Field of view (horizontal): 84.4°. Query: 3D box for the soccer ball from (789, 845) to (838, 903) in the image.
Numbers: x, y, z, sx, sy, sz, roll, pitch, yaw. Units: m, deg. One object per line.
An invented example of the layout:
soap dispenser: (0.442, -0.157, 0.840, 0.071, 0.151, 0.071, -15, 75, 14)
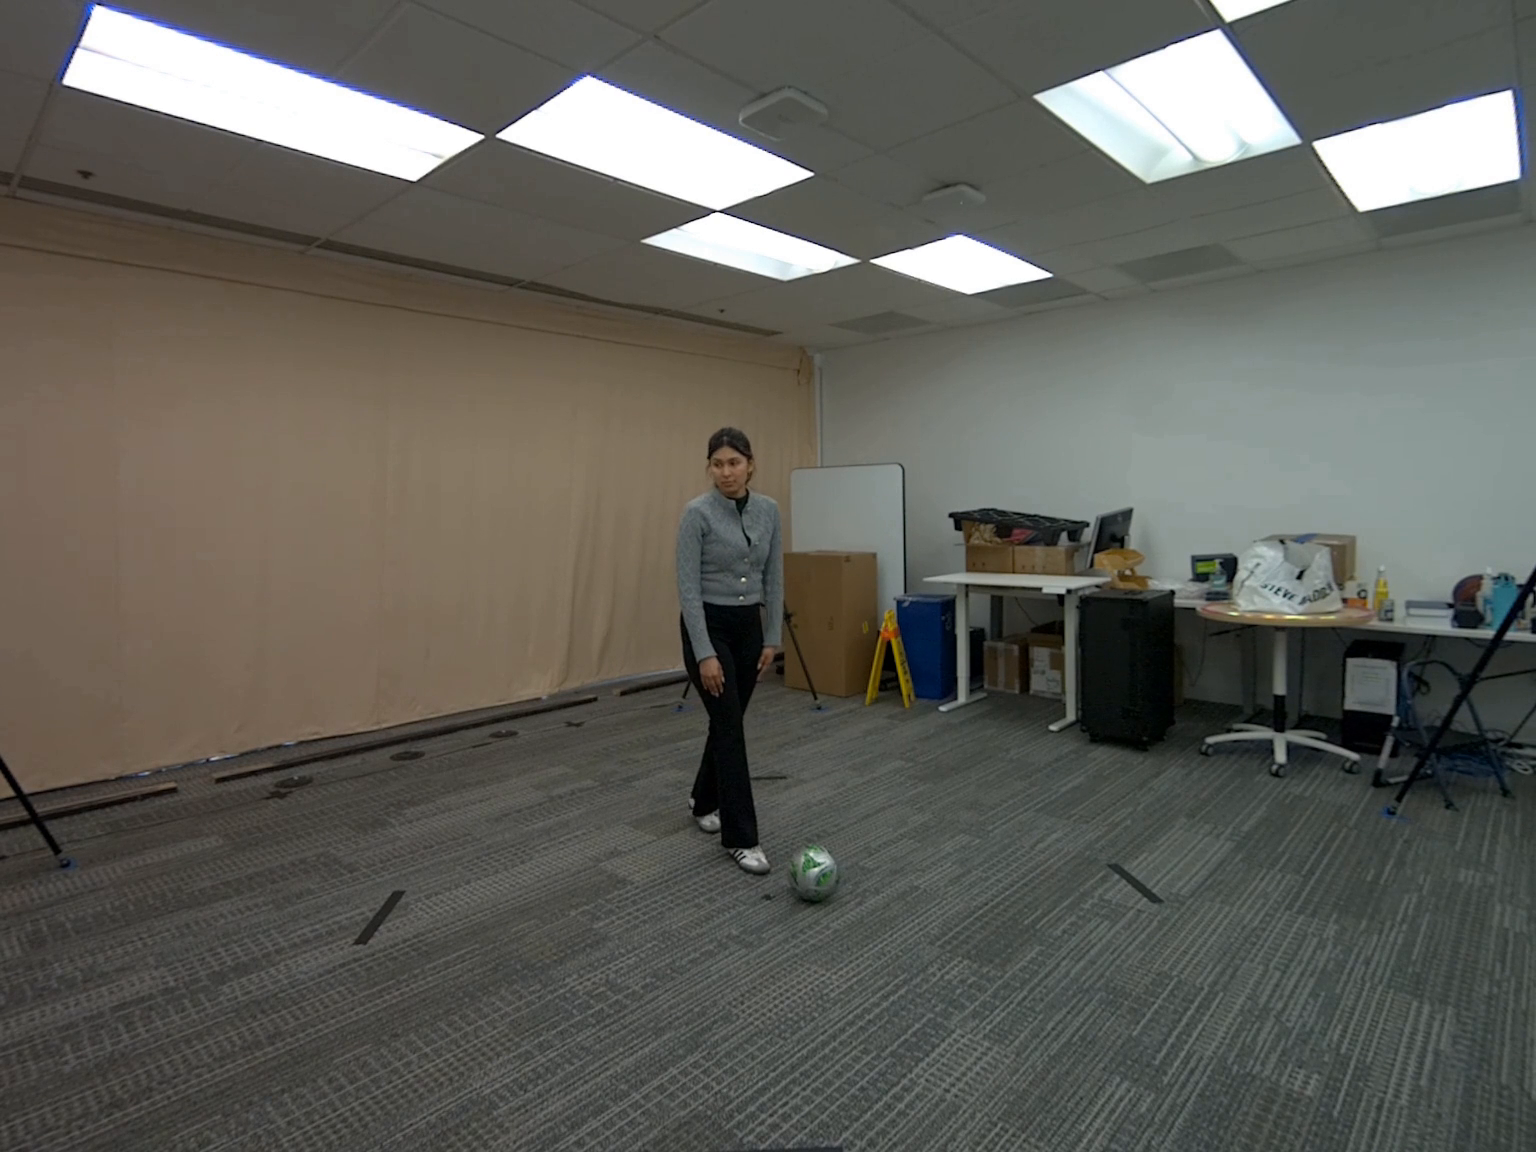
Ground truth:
soccer ball: (0.159, 1.043, 2.966, 0.187, 0.187, 0.188, -1, 4, -2)
